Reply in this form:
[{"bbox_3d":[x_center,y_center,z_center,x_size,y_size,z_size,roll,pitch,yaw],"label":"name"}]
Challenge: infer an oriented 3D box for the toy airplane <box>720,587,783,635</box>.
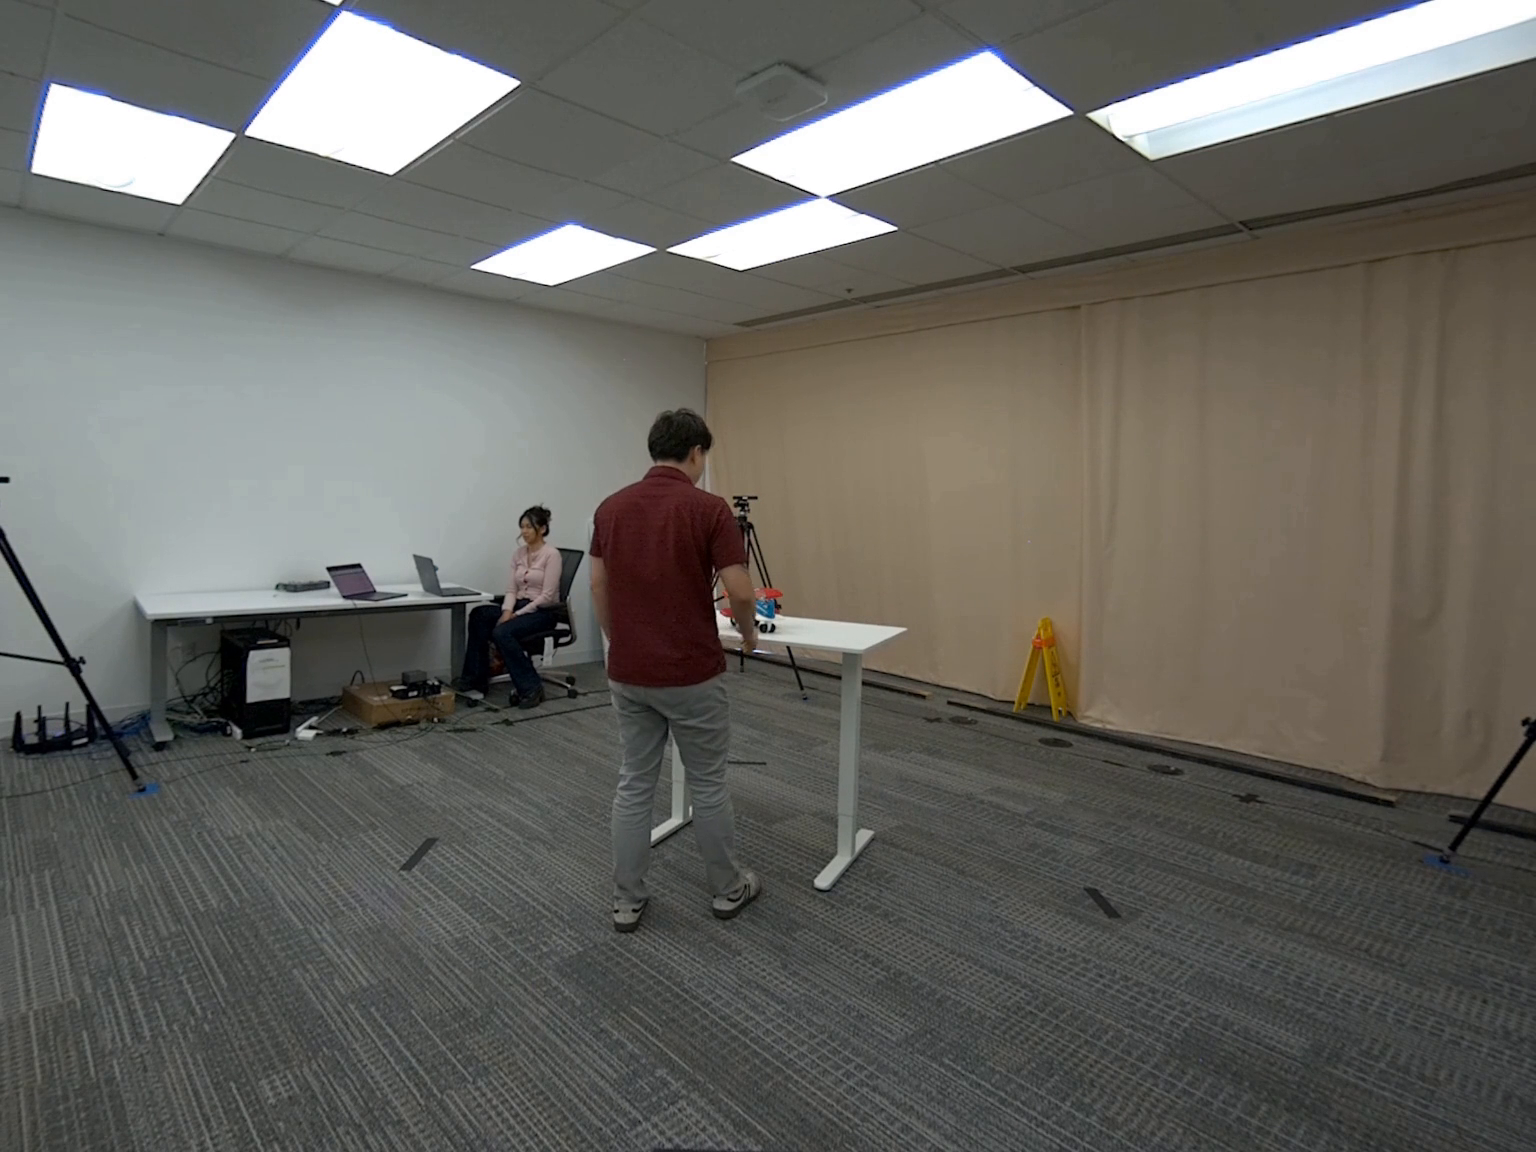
[{"bbox_3d":[-0.038,0.129,3.291,0.265,0.156,0.246,4,5,33],"label":"toy airplane"}]
